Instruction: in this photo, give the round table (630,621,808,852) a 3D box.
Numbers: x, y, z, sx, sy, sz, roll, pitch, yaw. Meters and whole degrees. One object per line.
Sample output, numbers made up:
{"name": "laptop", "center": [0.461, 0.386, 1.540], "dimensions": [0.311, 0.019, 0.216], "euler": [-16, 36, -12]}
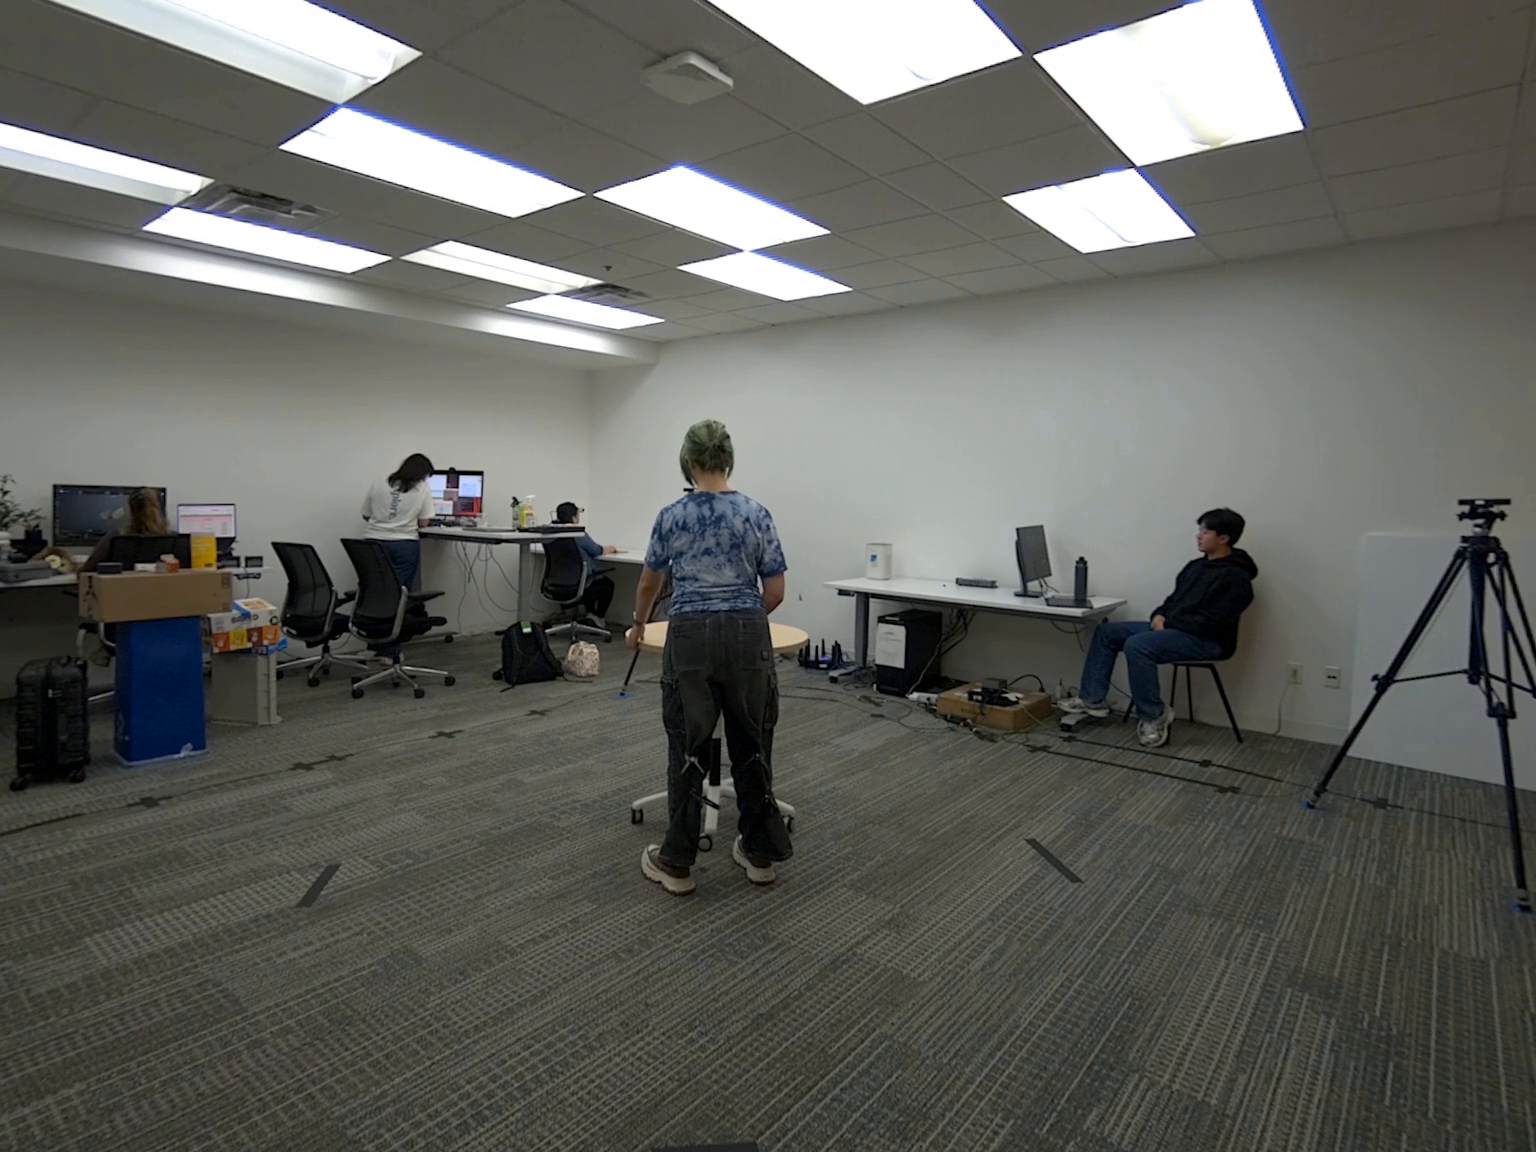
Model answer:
{"name": "round table", "center": [-0.233, 0.633, 3.588], "dimensions": [0.763, 0.791, 0.768], "euler": [1, 4, -2]}
